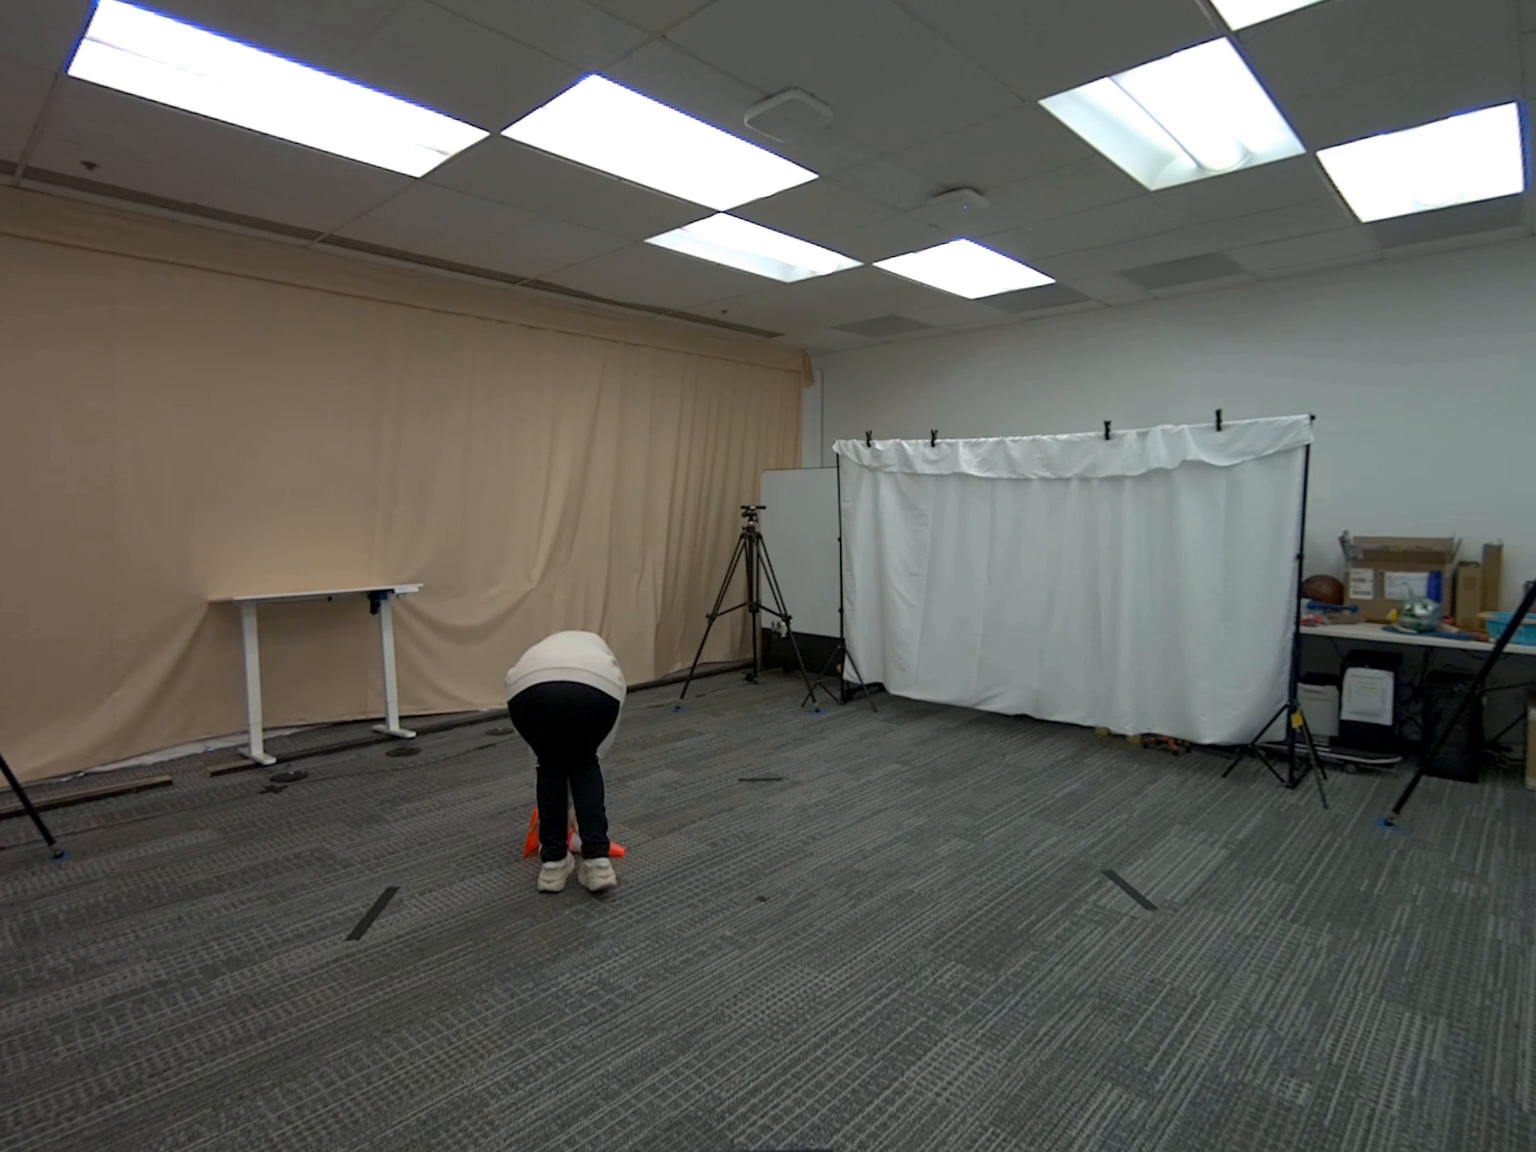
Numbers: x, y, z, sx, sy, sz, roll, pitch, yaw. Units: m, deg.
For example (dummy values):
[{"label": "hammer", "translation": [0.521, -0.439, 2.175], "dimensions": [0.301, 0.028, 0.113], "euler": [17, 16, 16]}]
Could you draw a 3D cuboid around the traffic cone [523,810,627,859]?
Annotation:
[{"label": "traffic cone", "translation": [-0.761, 1.069, 3.397], "dimensions": [0.390, 0.205, 0.200], "euler": [15, 1, 13]}]
